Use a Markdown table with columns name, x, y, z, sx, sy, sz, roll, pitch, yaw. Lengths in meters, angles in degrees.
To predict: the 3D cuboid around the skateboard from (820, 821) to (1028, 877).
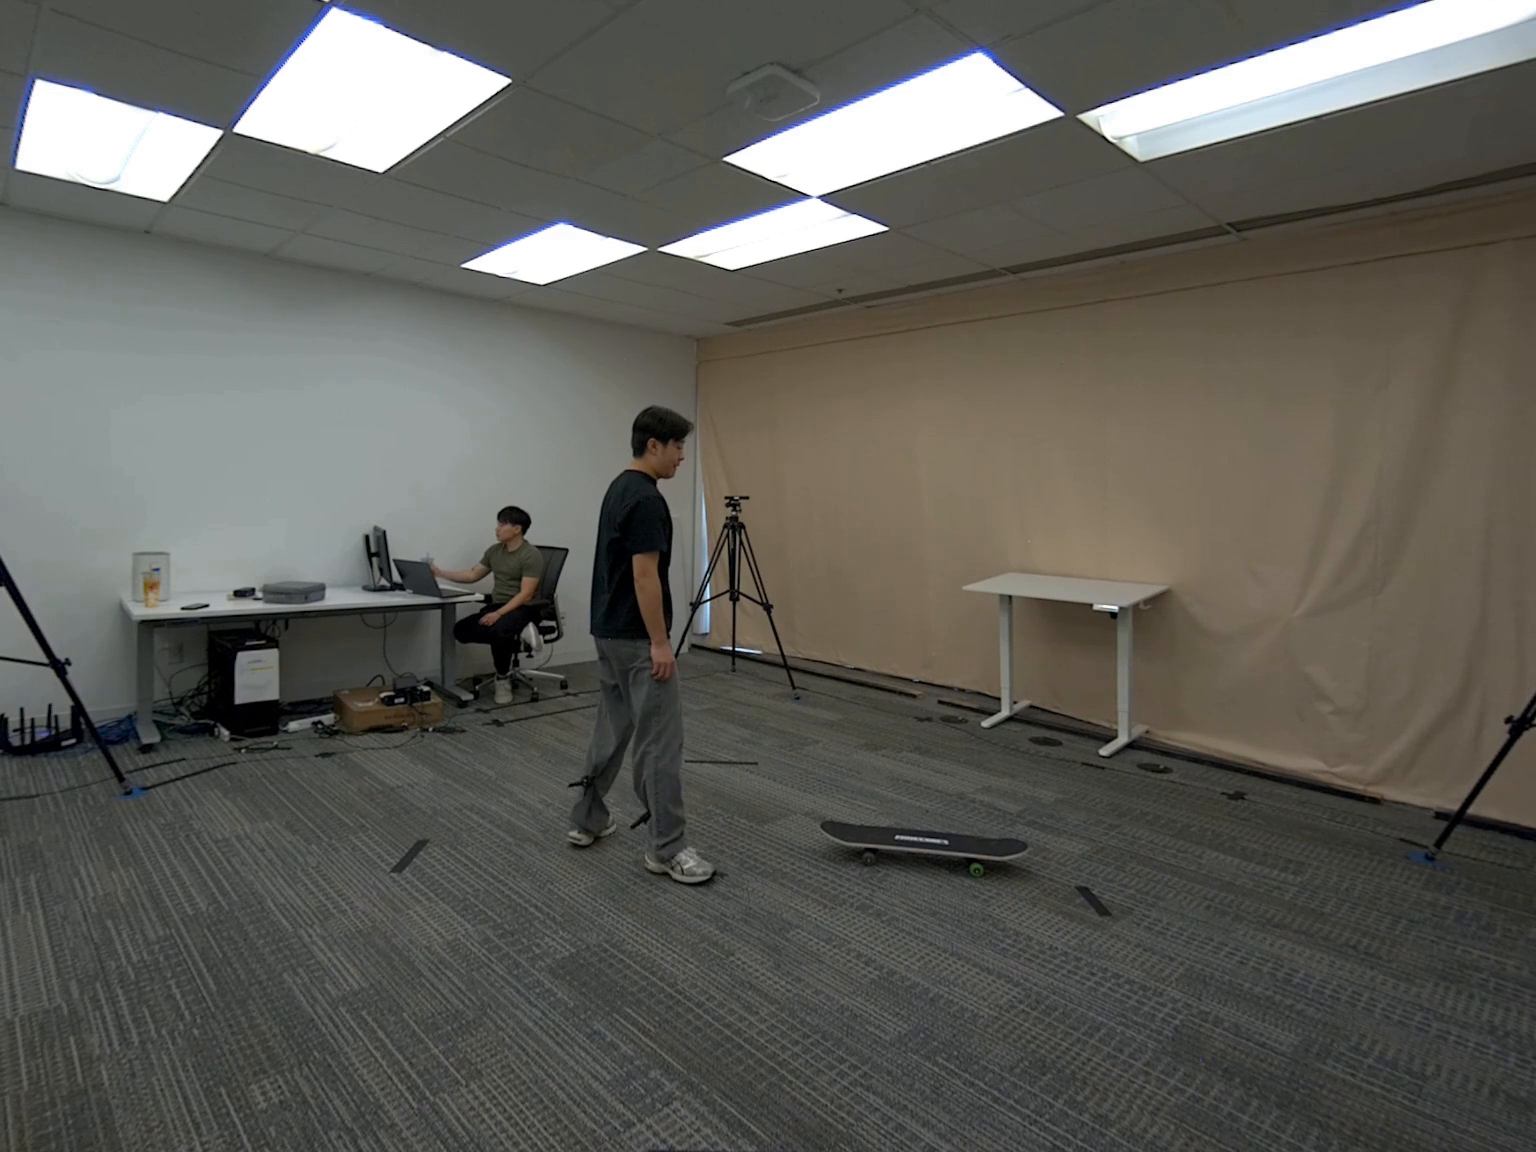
| name | x | y | z | sx | sy | sz | roll | pitch | yaw |
| --- | --- | --- | --- | --- | --- | --- | --- | --- | --- |
| skateboard | 0.602 | 1.062 | 3.257 | 0.791 | 0.110 | 0.192 | 2 | 2 | 9 |
